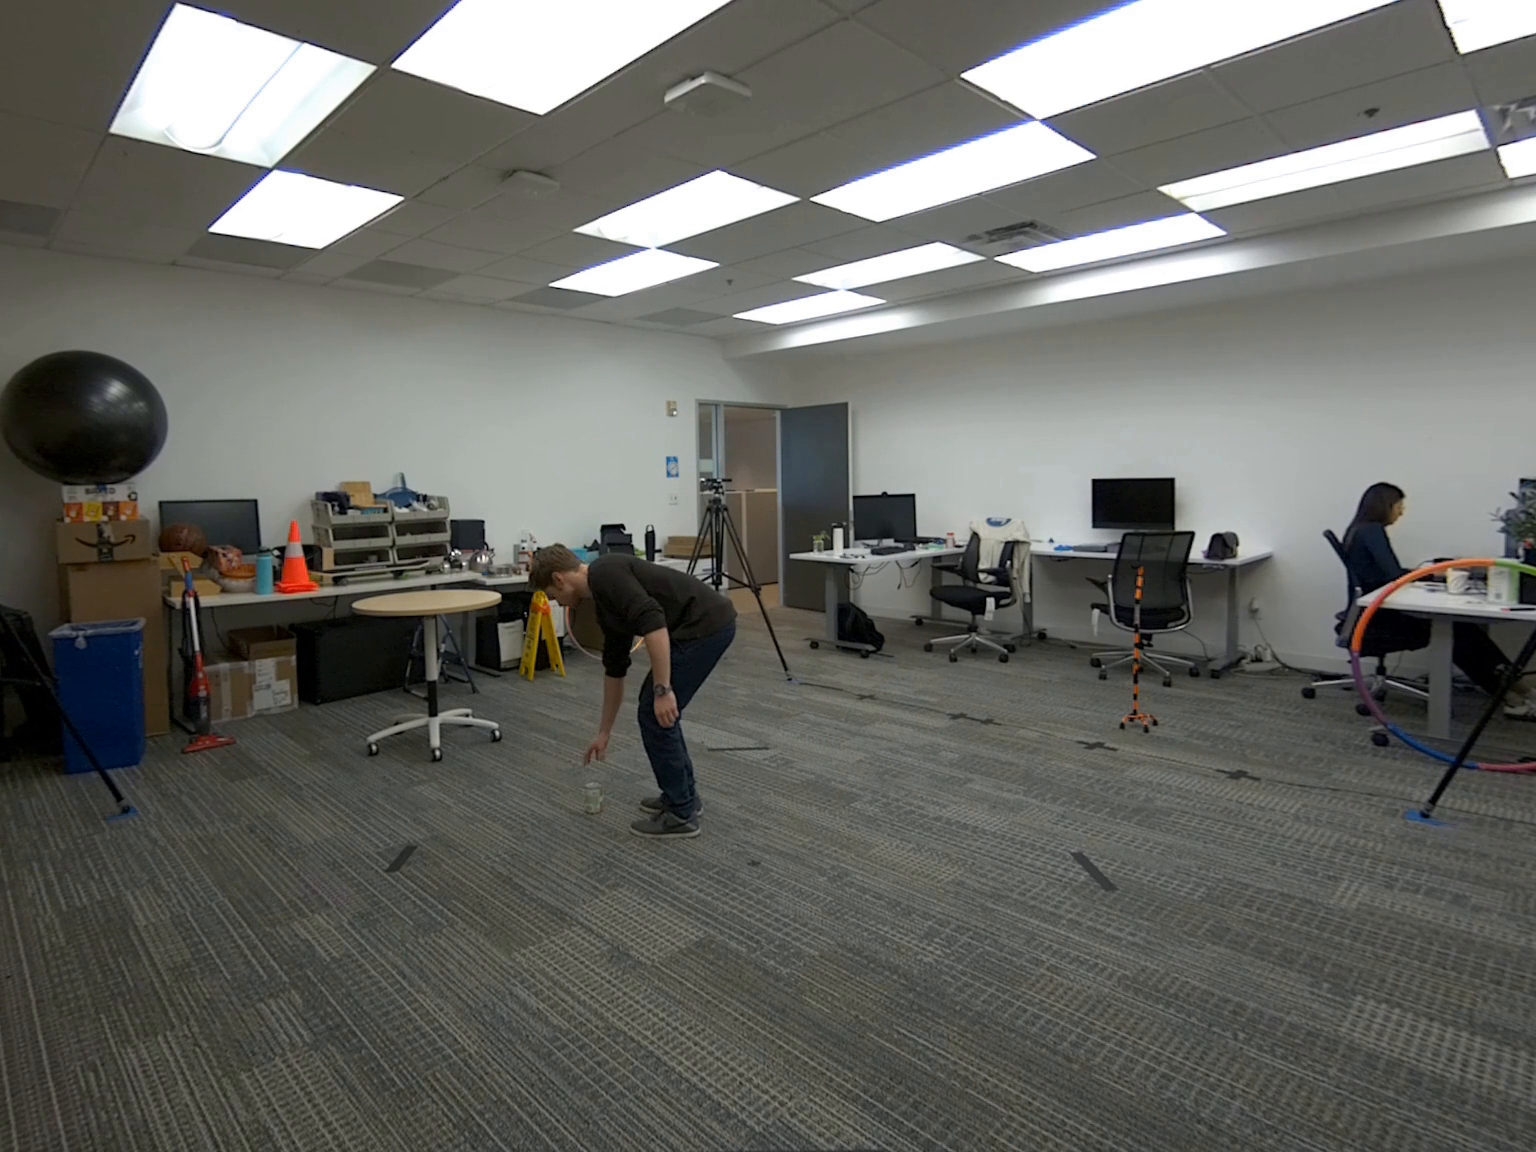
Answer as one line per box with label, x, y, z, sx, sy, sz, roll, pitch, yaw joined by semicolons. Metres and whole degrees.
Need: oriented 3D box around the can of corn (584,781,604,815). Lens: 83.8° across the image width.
can of corn;-0.736;0.943;3.630;0.074;0.110;0.075;-2;6;-1
